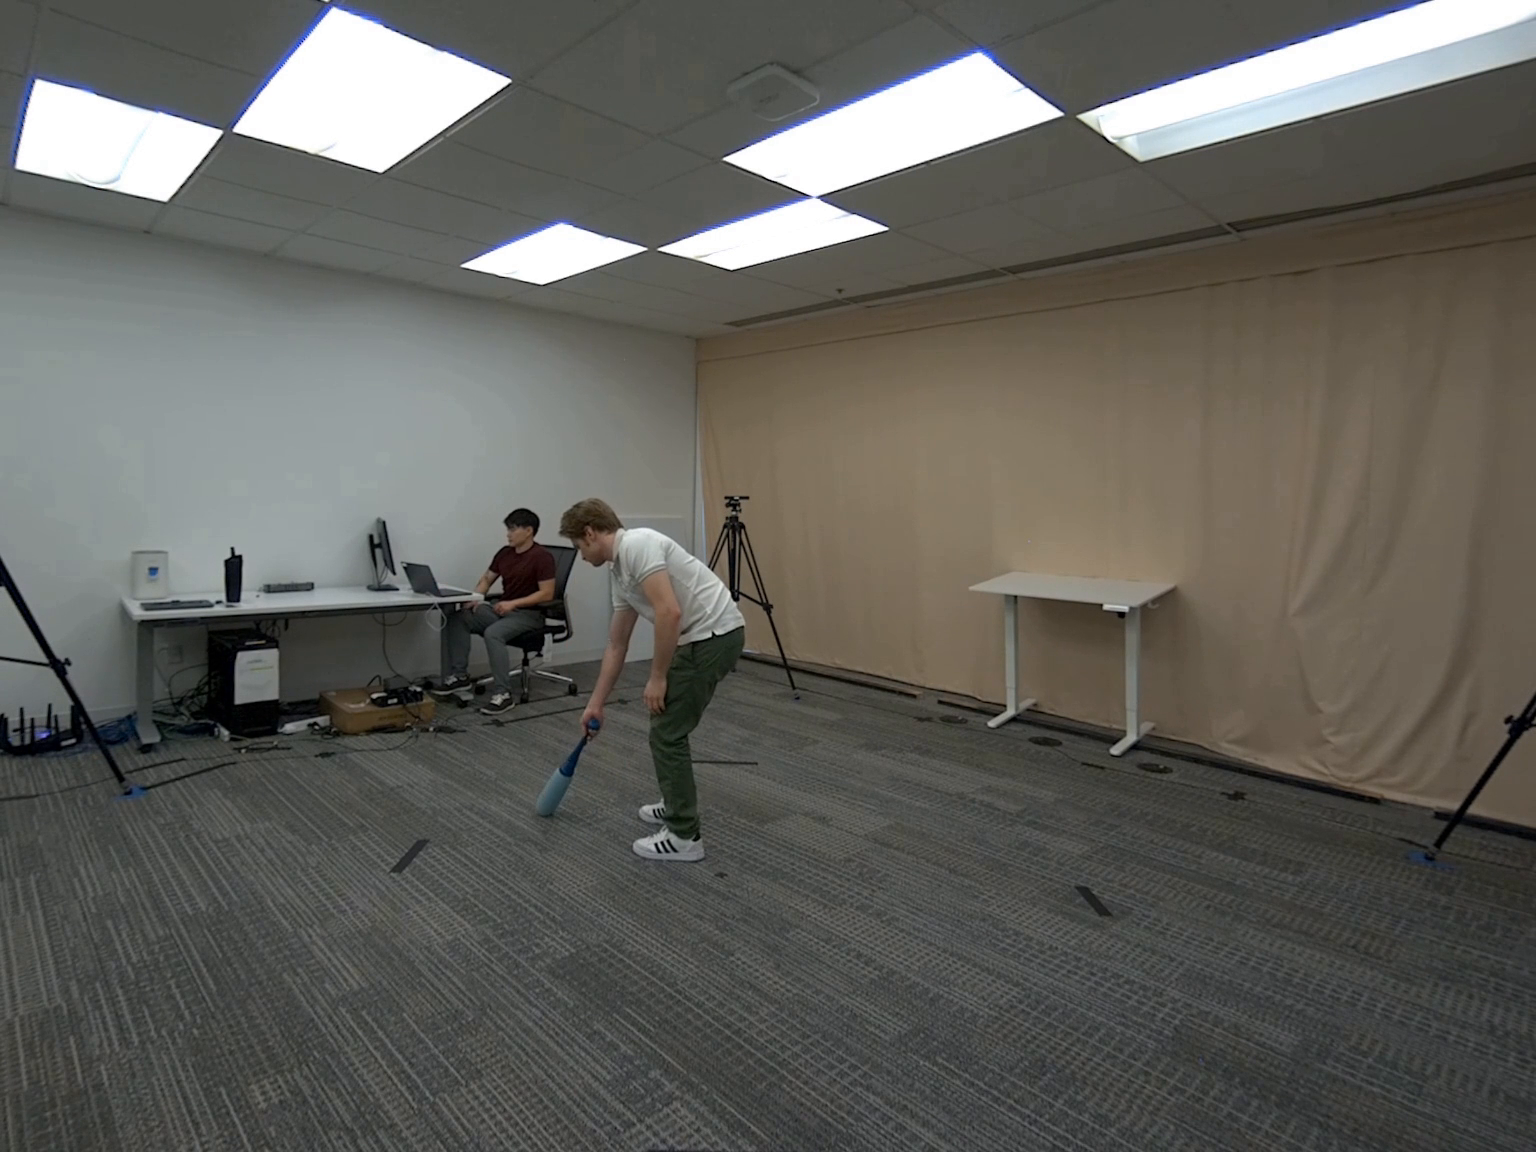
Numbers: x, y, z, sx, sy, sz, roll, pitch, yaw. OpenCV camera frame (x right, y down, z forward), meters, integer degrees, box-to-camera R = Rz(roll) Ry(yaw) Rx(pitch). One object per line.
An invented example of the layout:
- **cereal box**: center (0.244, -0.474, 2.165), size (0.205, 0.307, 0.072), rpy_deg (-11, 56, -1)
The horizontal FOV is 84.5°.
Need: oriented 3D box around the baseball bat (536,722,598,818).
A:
- **baseball bat**: center (-0.840, 0.811, 3.548), size (0.088, 0.541, 0.091), rpy_deg (27, 26, -16)
